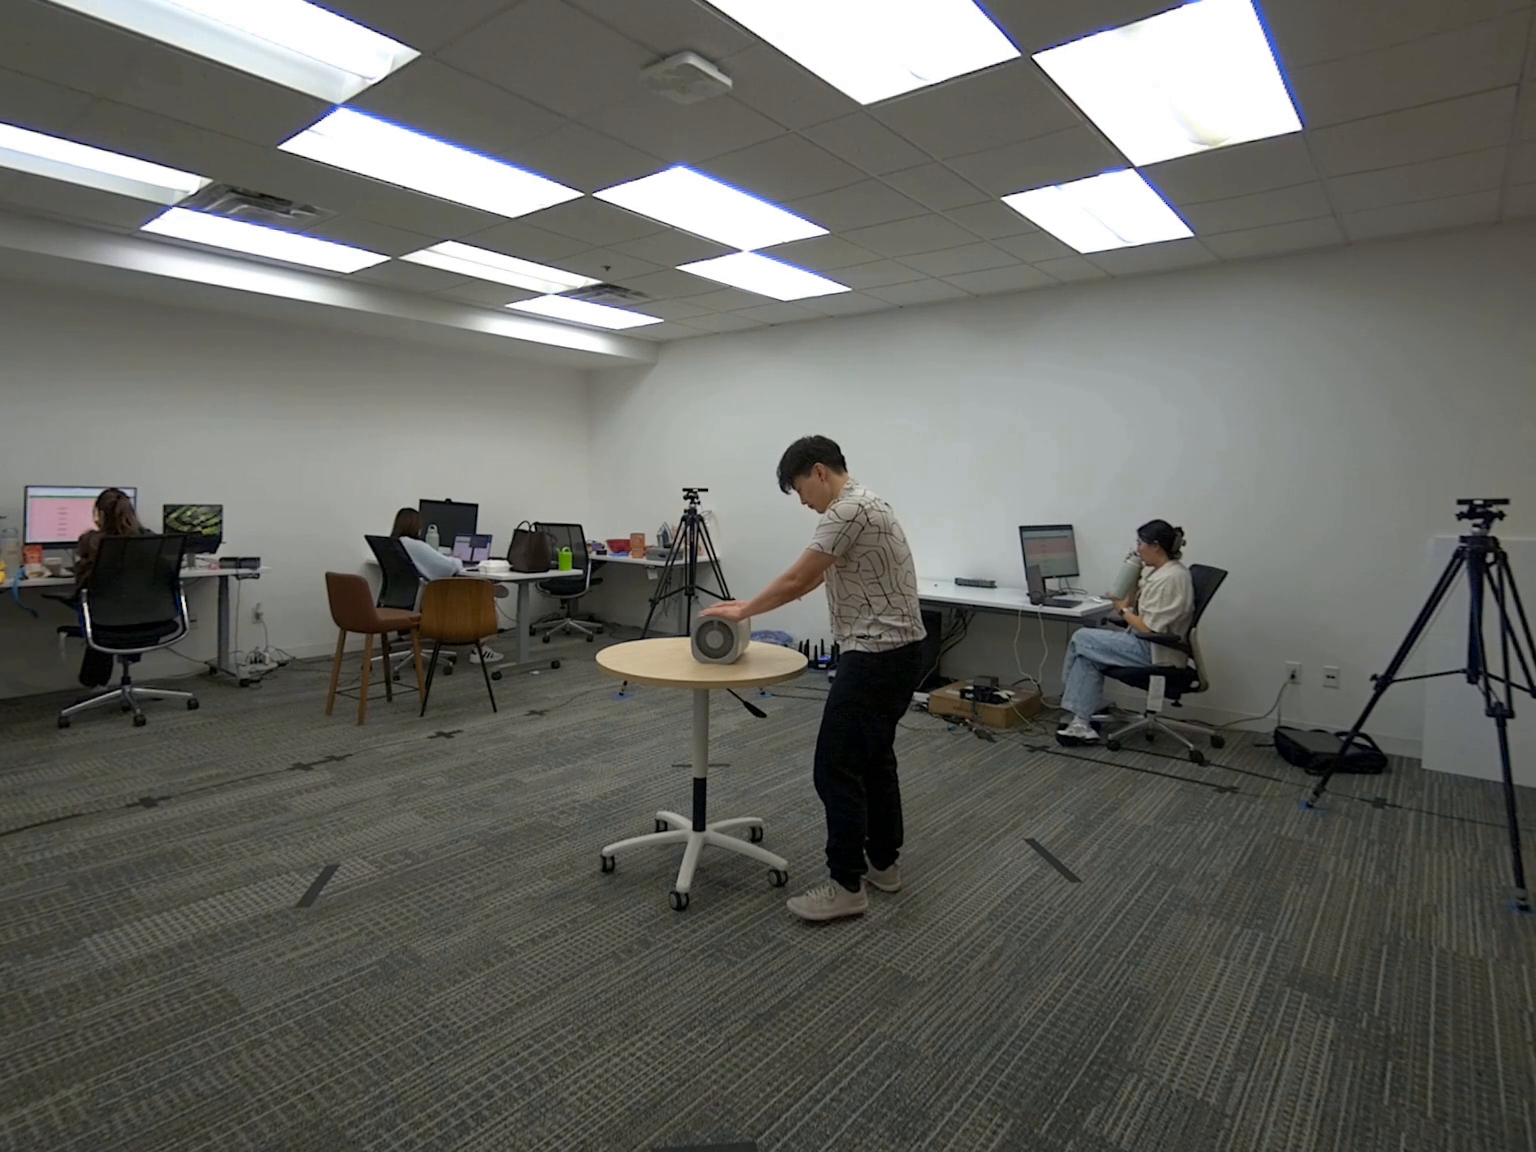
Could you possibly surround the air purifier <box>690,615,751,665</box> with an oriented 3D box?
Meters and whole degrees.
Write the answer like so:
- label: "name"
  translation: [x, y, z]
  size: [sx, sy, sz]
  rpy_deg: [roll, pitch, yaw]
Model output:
- label: "air purifier"
  translation: [-0.174, 0.203, 3.089]
  size: [0.173, 0.171, 0.263]
  rpy_deg: [5, 6, 10]
